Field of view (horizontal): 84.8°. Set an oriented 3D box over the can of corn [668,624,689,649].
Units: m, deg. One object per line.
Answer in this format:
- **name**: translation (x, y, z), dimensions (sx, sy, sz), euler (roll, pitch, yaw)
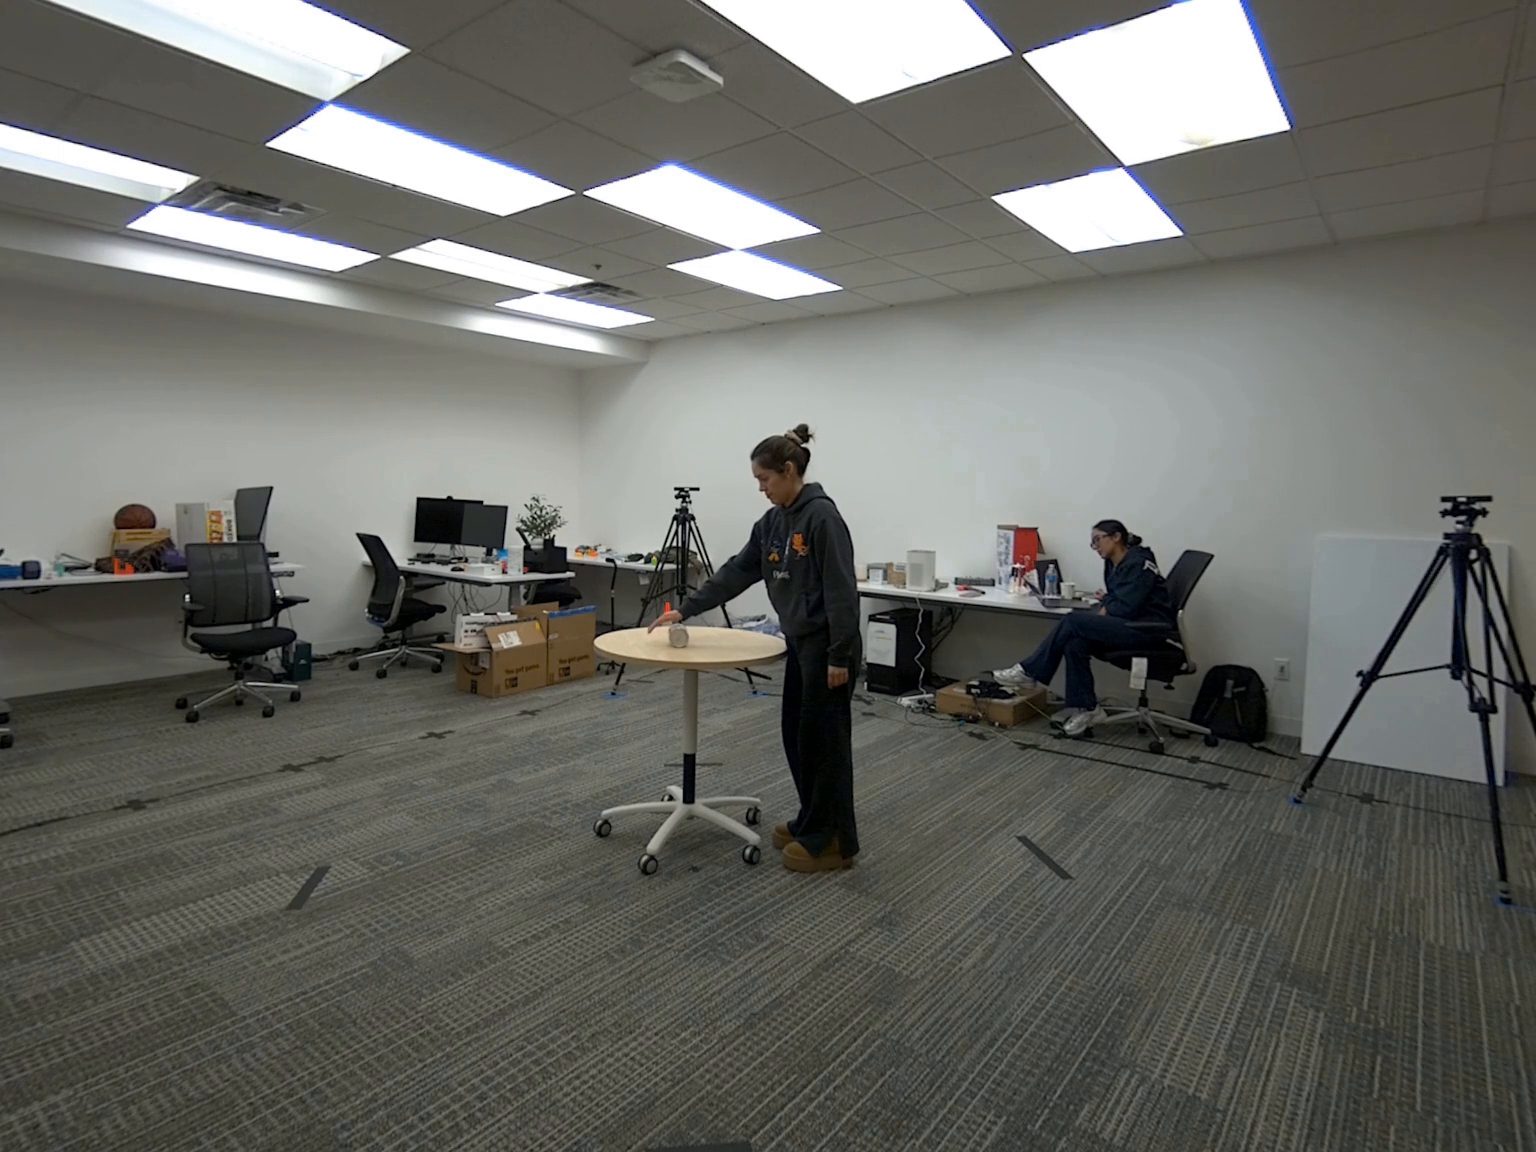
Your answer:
- **can of corn**: translation (-0.347, 0.227, 3.293), dimensions (0.073, 0.074, 0.113), euler (-1, 6, -10)
